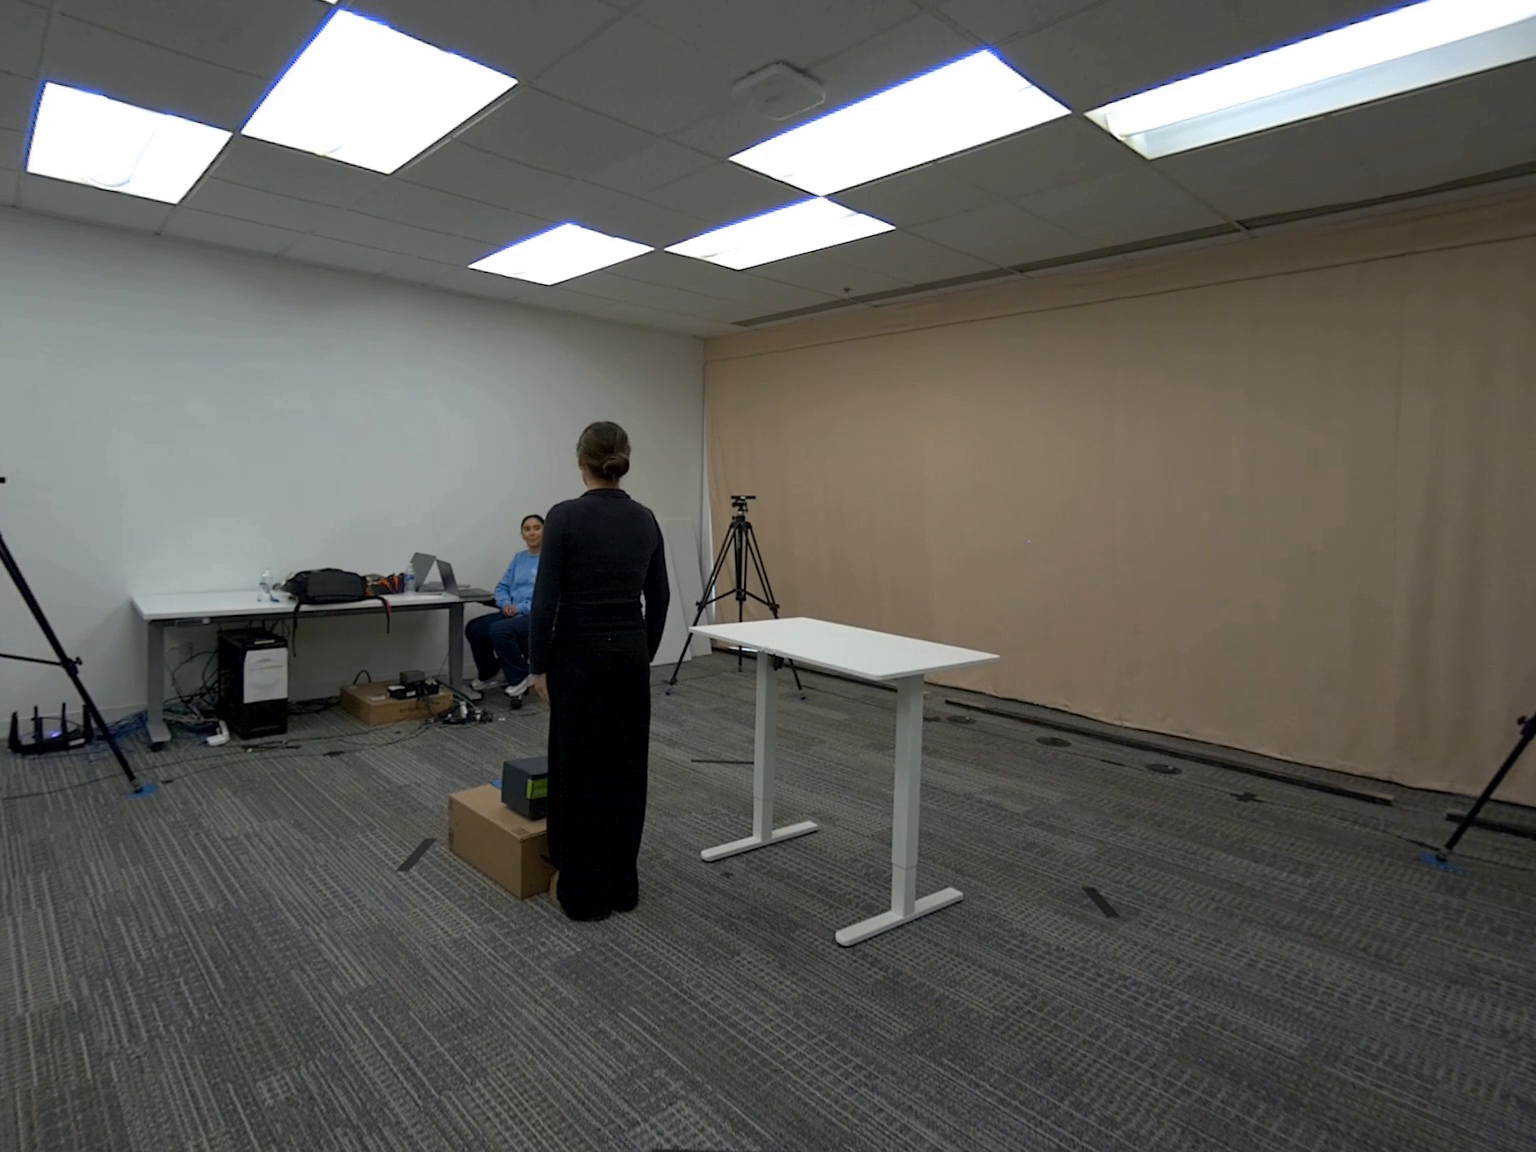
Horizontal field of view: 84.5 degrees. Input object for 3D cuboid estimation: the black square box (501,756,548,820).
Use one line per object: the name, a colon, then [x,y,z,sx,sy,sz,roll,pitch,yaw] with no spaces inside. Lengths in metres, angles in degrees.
black square box: [-0.839,0.777,3.141,0.222,0.156,0.222,3,2,-45]
